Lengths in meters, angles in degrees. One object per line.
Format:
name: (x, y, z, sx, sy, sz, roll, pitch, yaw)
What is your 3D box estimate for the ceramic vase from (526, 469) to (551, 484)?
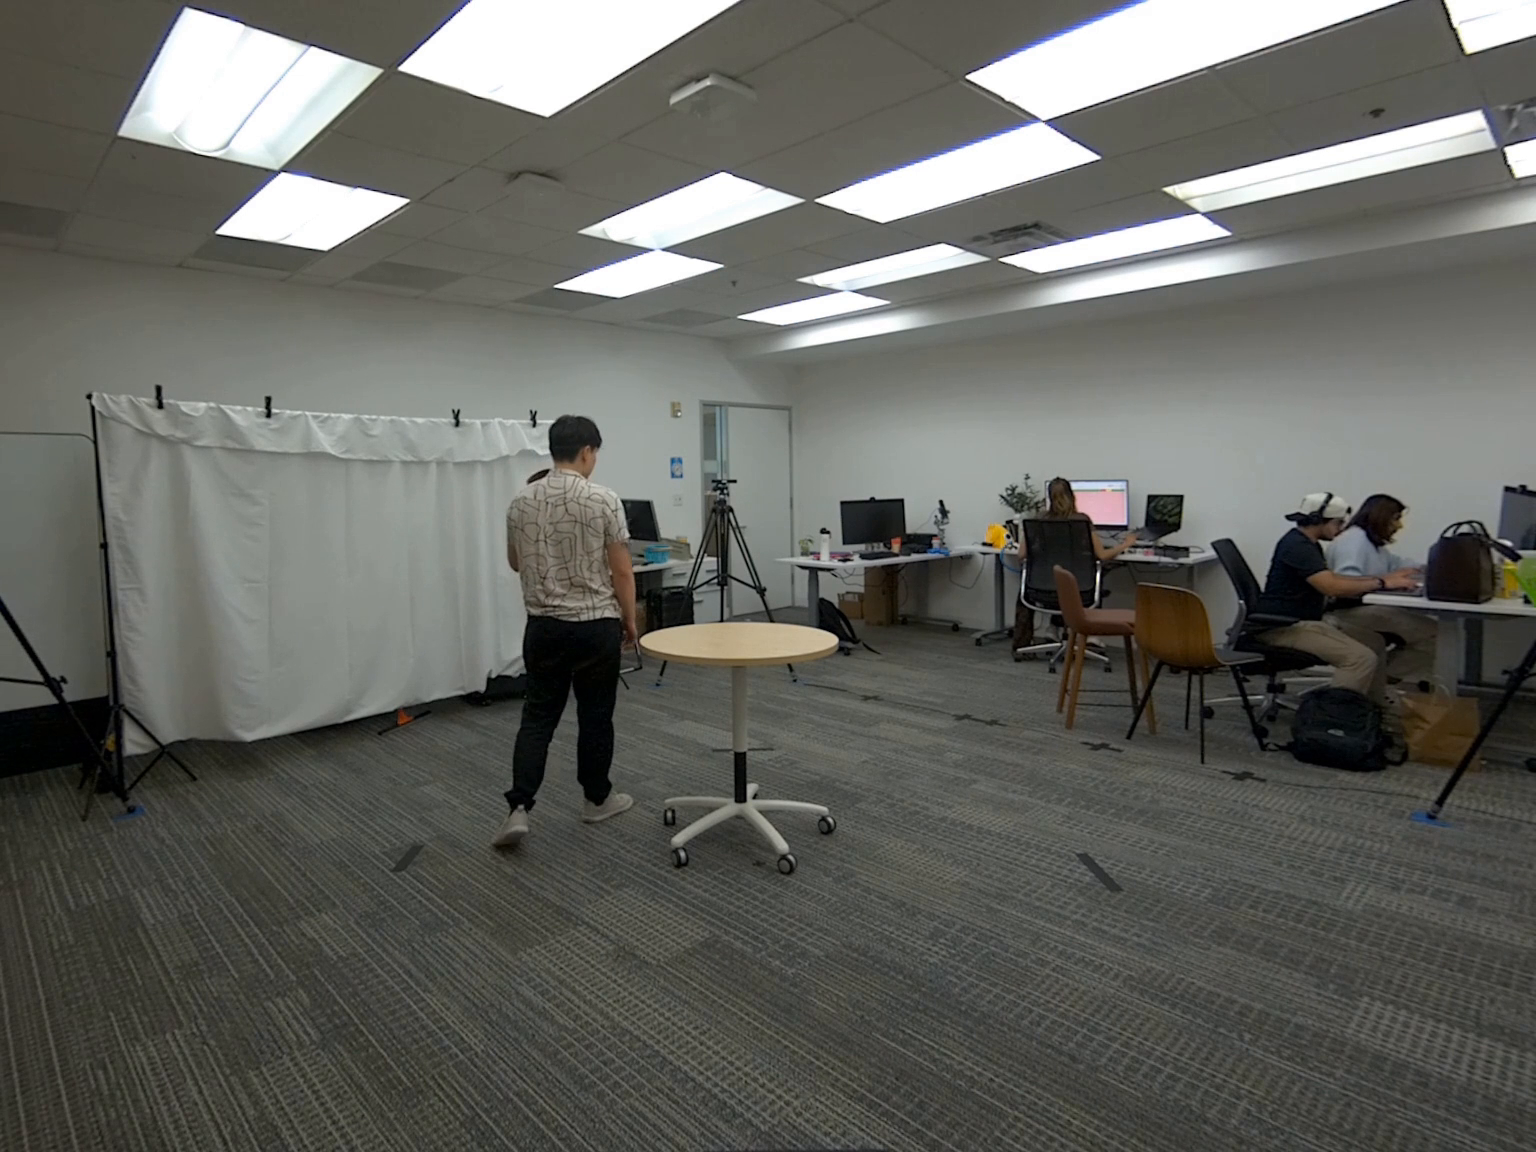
ceramic vase: (-0.938, -0.342, 3.721, 0.135, 0.213, 0.163, -19, 30, 7)
